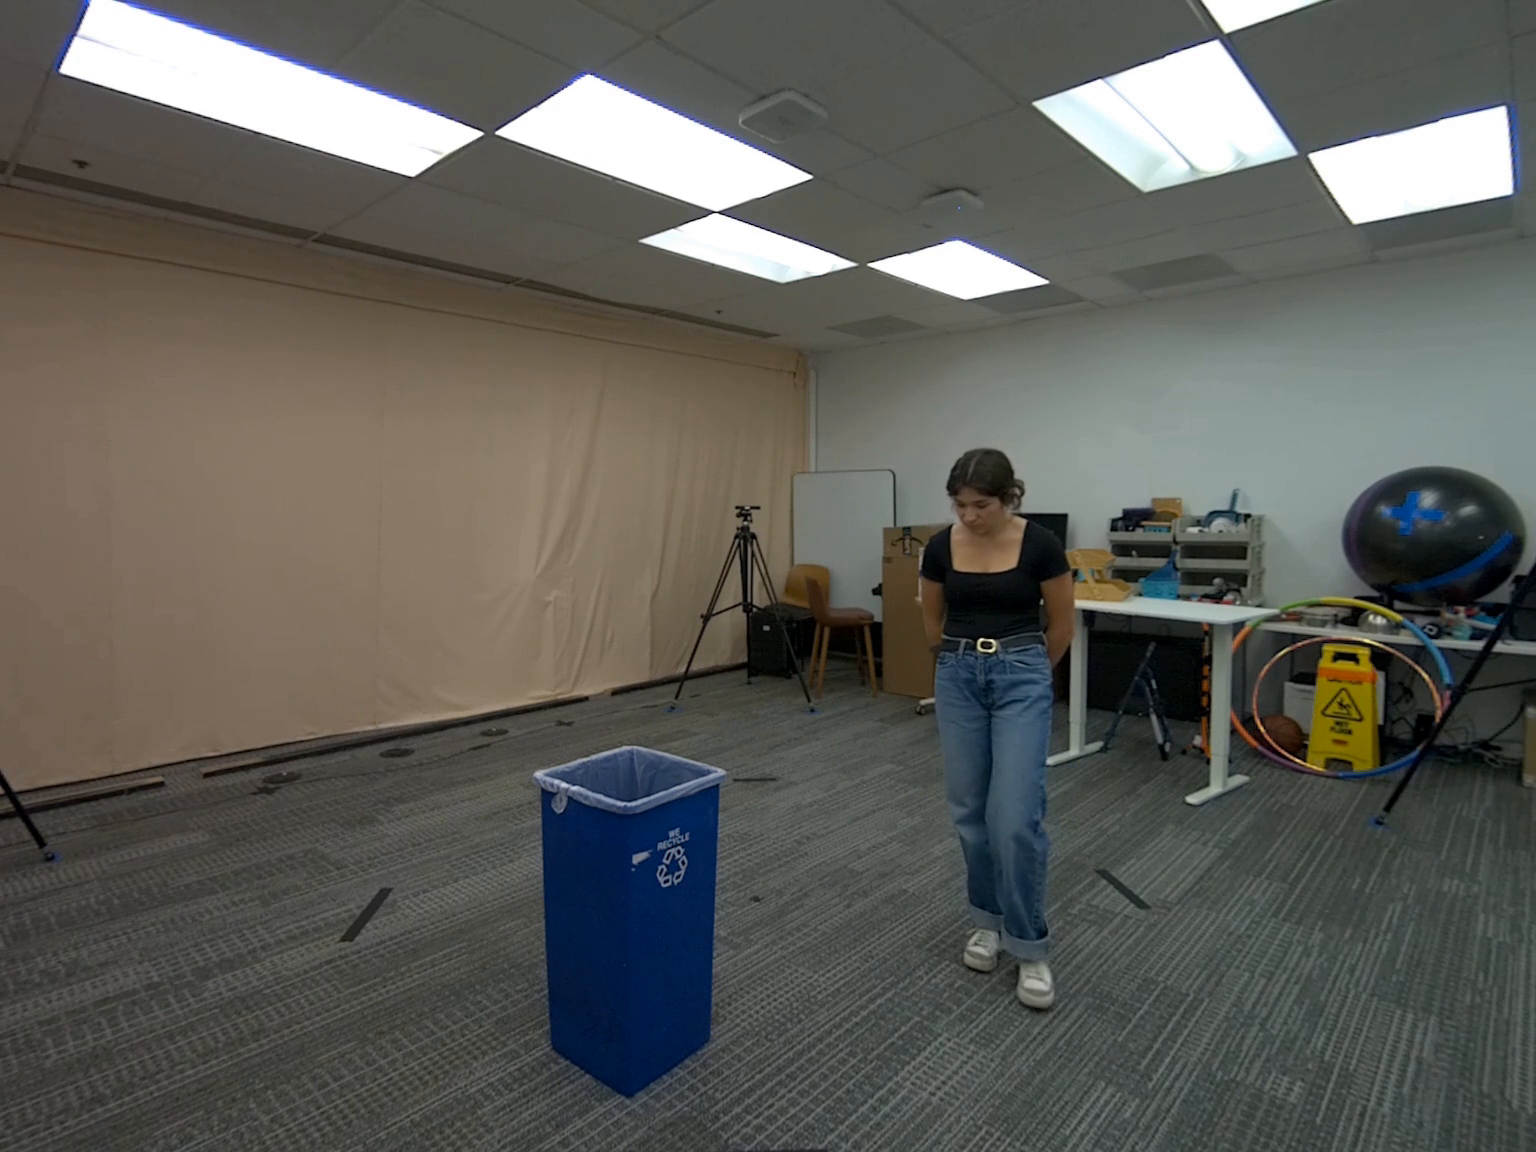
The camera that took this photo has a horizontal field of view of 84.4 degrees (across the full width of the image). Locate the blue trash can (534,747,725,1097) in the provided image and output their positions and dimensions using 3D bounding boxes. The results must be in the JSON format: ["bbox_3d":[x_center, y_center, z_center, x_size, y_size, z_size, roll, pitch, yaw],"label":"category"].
[{"bbox_3d":[-0.362,0.861,2.164,0.386,0.712,0.366,3,4,38],"label":"blue trash can"}]
